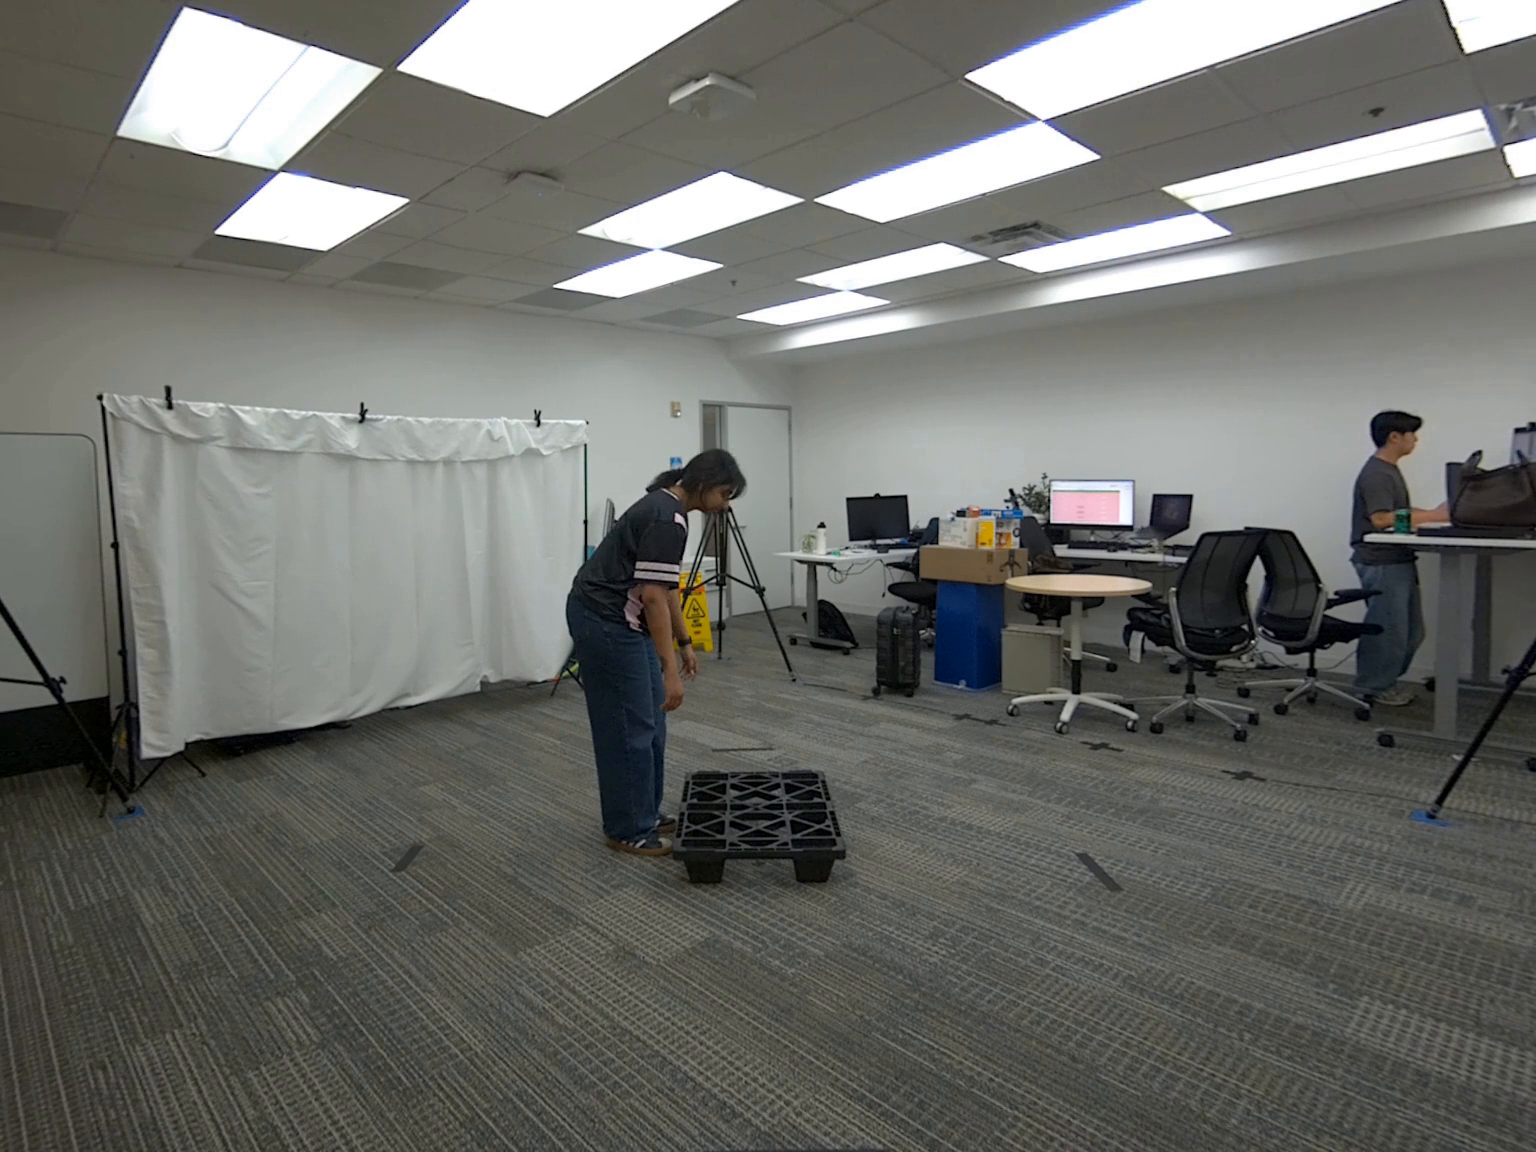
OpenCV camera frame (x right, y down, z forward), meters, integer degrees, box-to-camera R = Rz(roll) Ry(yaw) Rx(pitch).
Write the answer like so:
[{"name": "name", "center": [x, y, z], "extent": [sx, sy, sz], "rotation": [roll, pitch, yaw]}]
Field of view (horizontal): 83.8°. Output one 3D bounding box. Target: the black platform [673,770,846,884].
[{"name": "black platform", "center": [-0.039, 0.954, 3.317], "extent": [0.605, 0.142, 0.809], "rotation": [0, 6, -1]}]
